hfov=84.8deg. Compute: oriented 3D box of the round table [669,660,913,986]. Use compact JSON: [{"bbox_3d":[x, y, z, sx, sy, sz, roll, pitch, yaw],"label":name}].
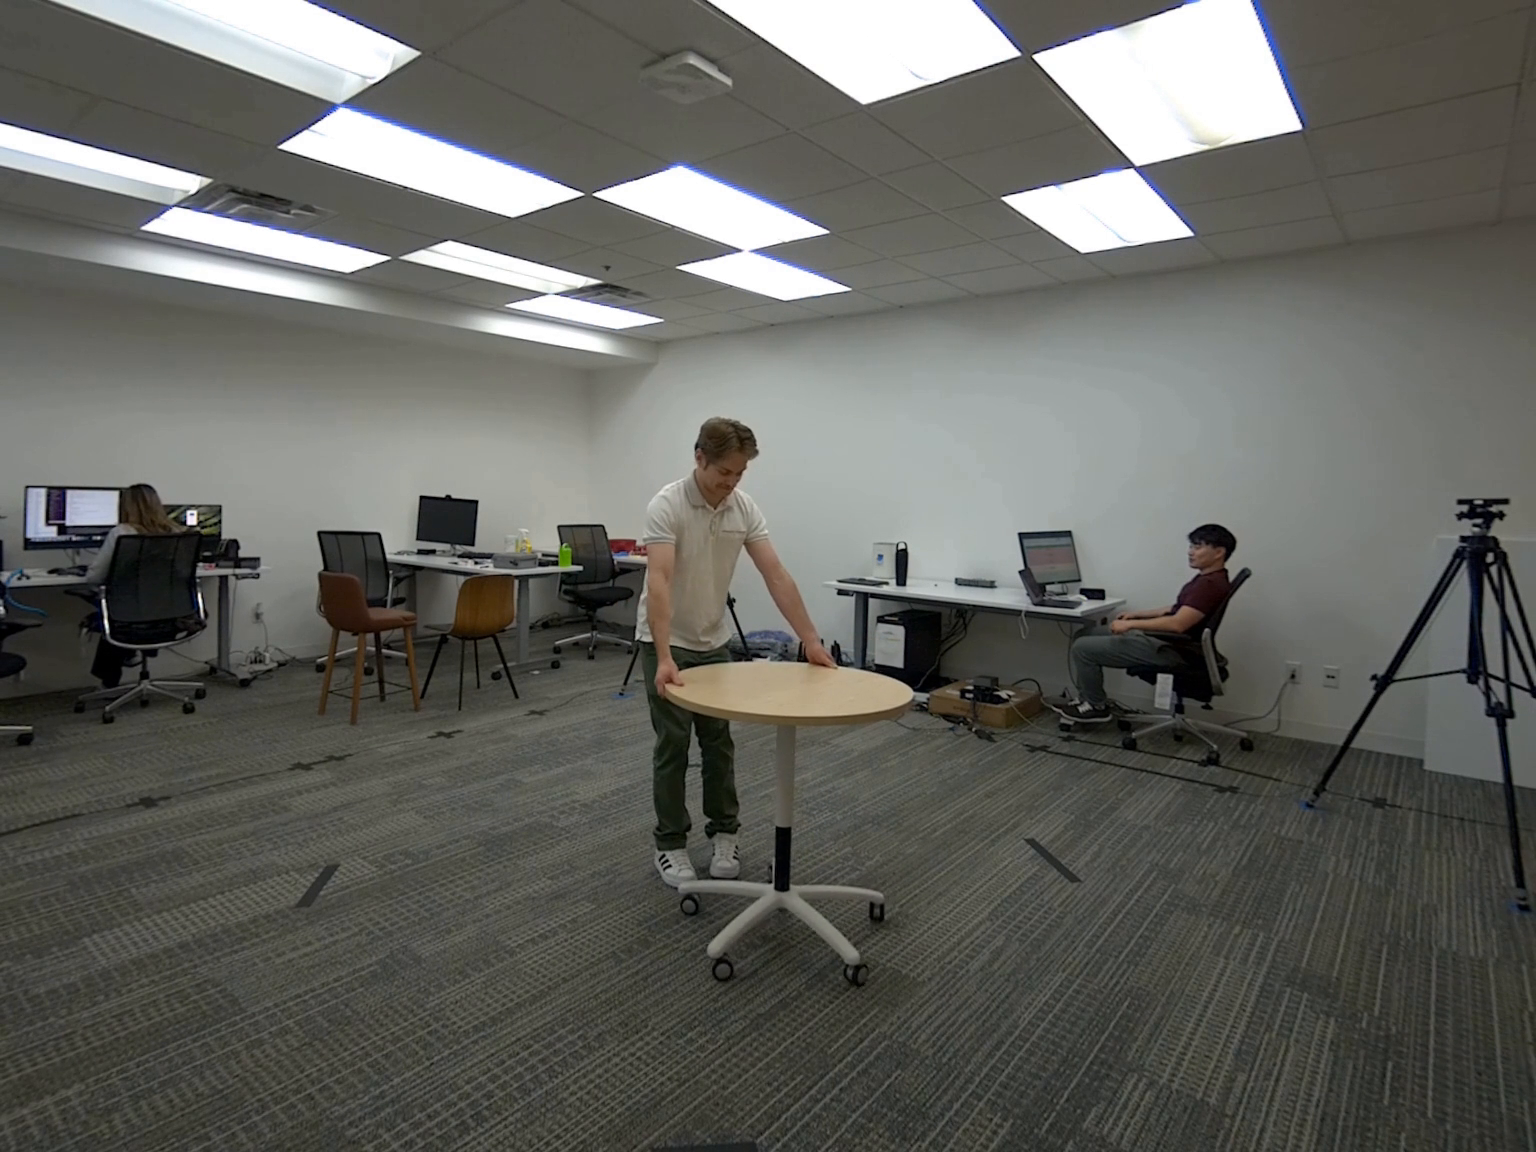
[{"bbox_3d":[0.043,0.728,2.660,0.763,0.791,0.768,1,4,-2],"label":"round table"}]
